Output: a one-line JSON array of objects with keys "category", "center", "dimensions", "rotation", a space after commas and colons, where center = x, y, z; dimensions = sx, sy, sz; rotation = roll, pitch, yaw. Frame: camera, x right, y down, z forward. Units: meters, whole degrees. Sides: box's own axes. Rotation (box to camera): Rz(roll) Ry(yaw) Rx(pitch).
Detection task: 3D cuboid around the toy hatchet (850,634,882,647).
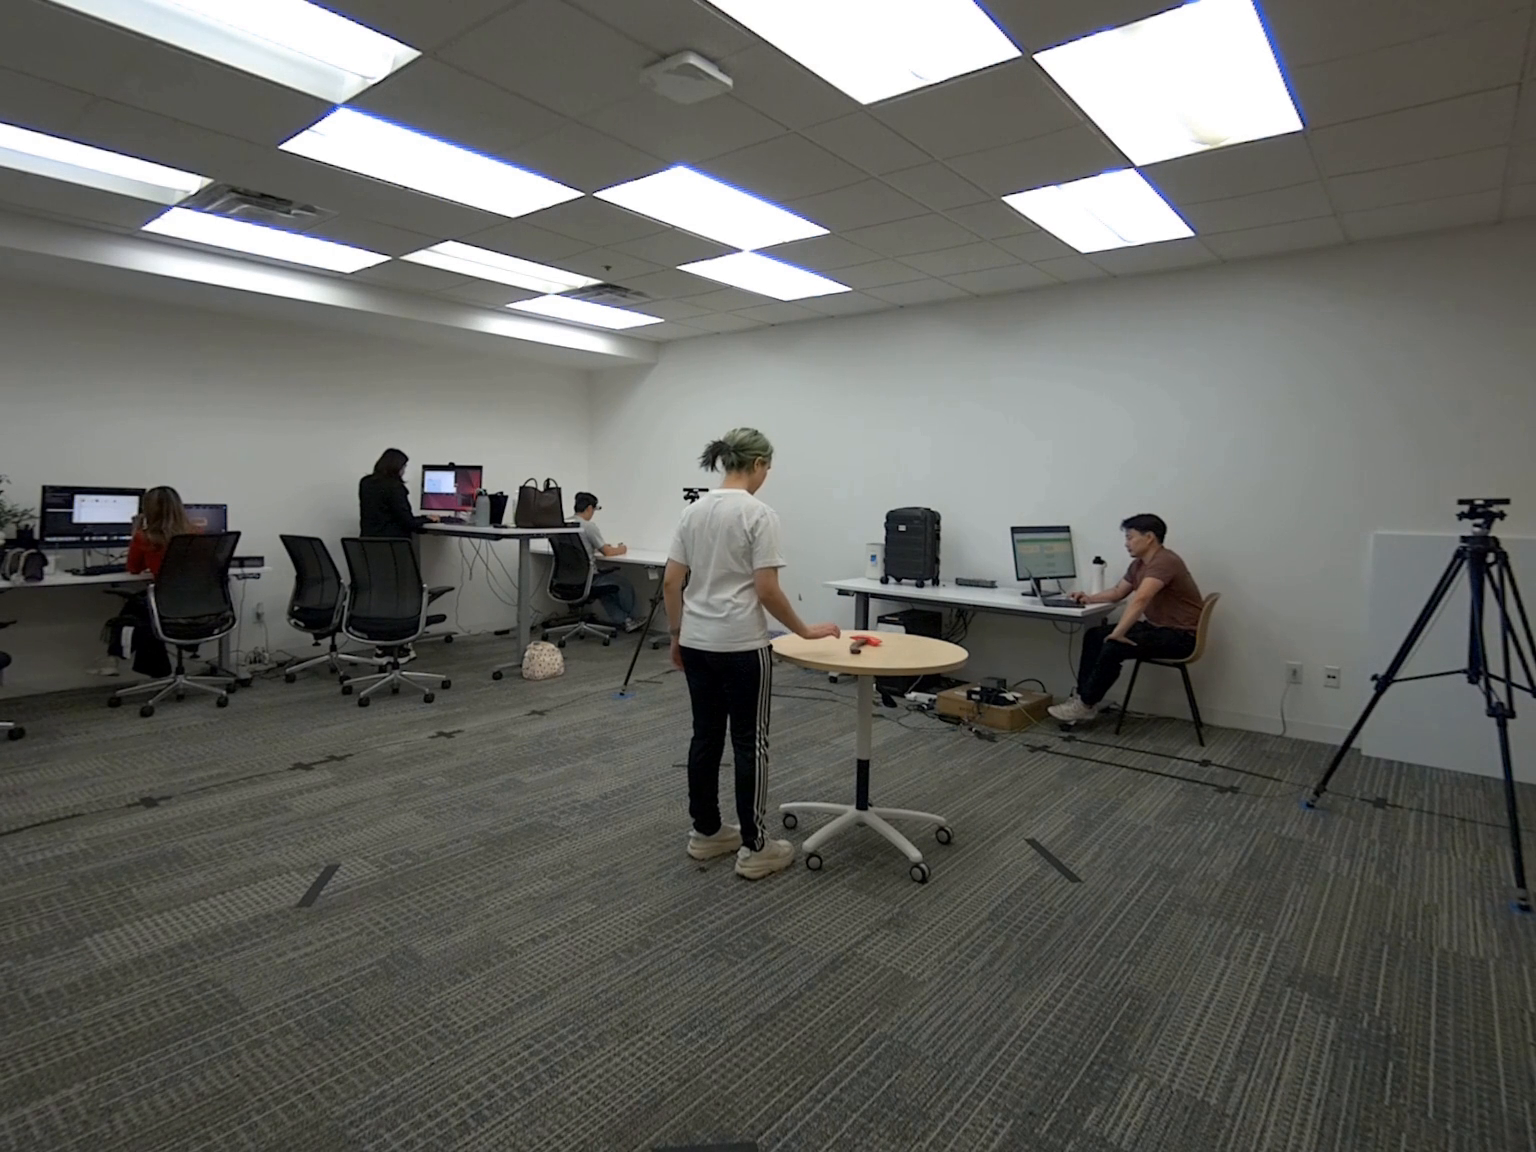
[{"category": "toy hatchet", "center": [0.374, 0.266, 3.298], "dimensions": [0.132, 0.029, 0.270], "rotation": [7, 8, 4]}]
